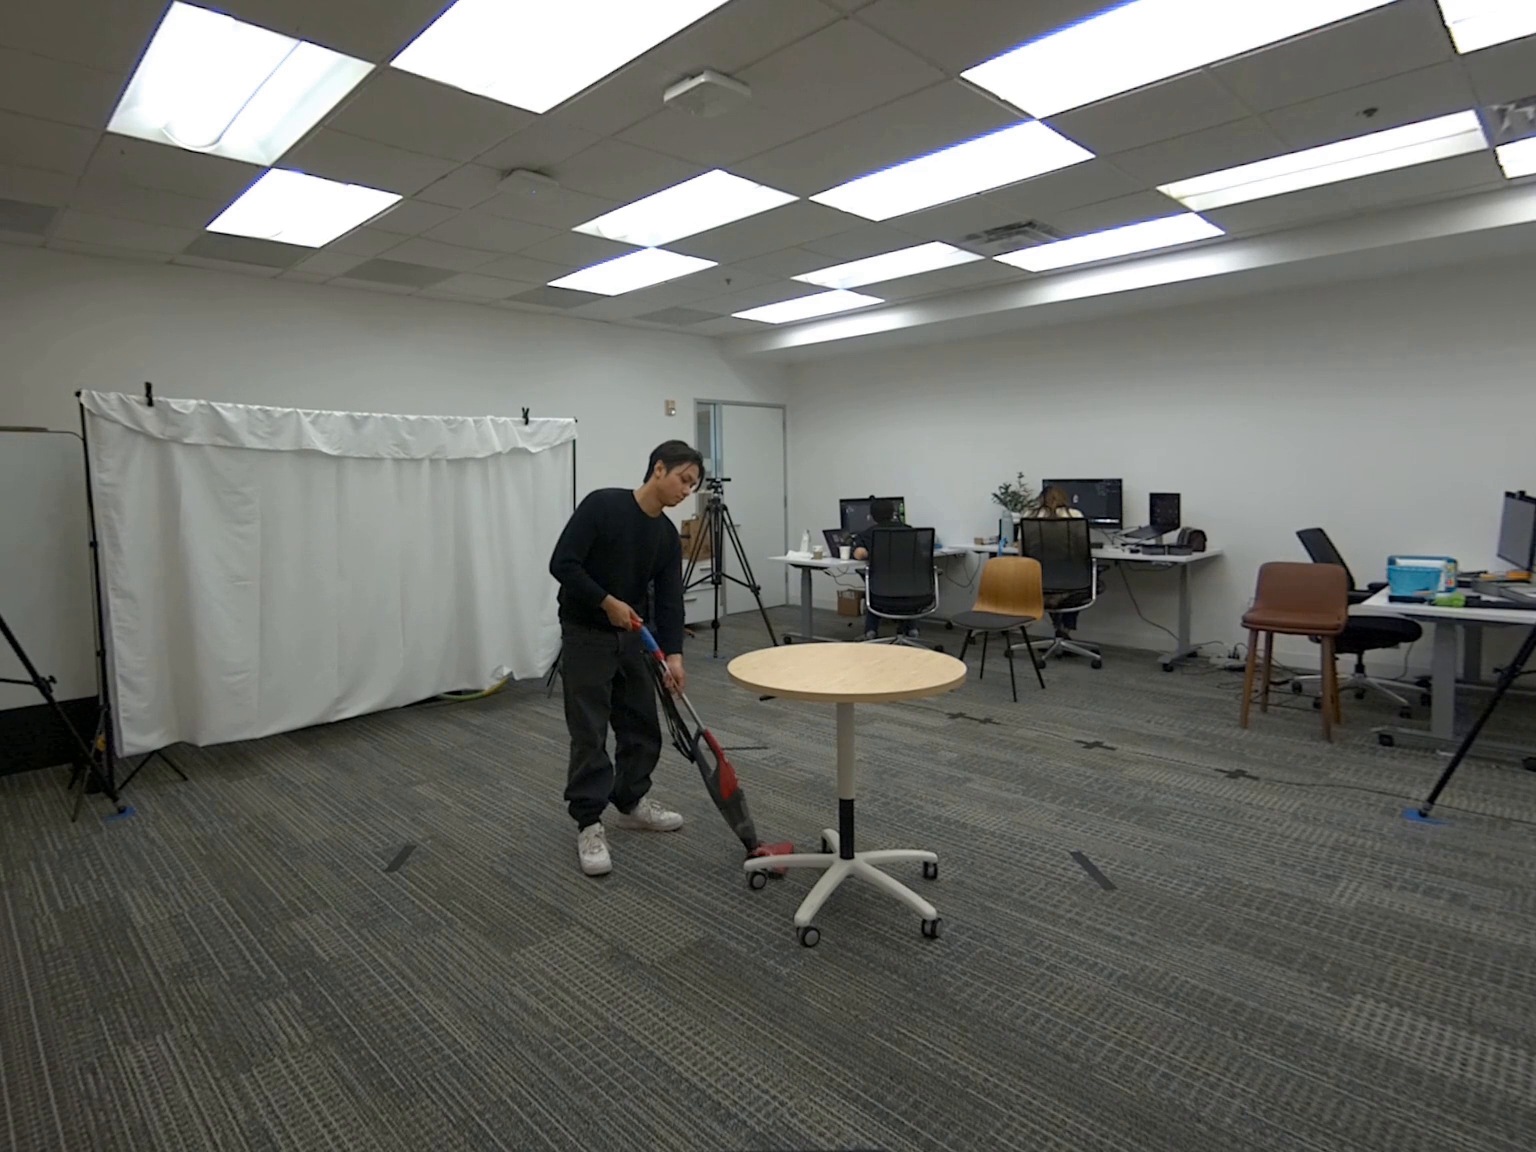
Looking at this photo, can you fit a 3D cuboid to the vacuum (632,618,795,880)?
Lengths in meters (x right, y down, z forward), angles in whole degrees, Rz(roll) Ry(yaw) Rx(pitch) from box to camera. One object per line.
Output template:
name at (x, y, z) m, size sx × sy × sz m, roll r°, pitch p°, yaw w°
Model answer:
vacuum at (-0.276, 0.576, 3.152) m, size 0.145 × 1.057 × 0.249 m, roll -34°, pitch -5°, yaw 20°
